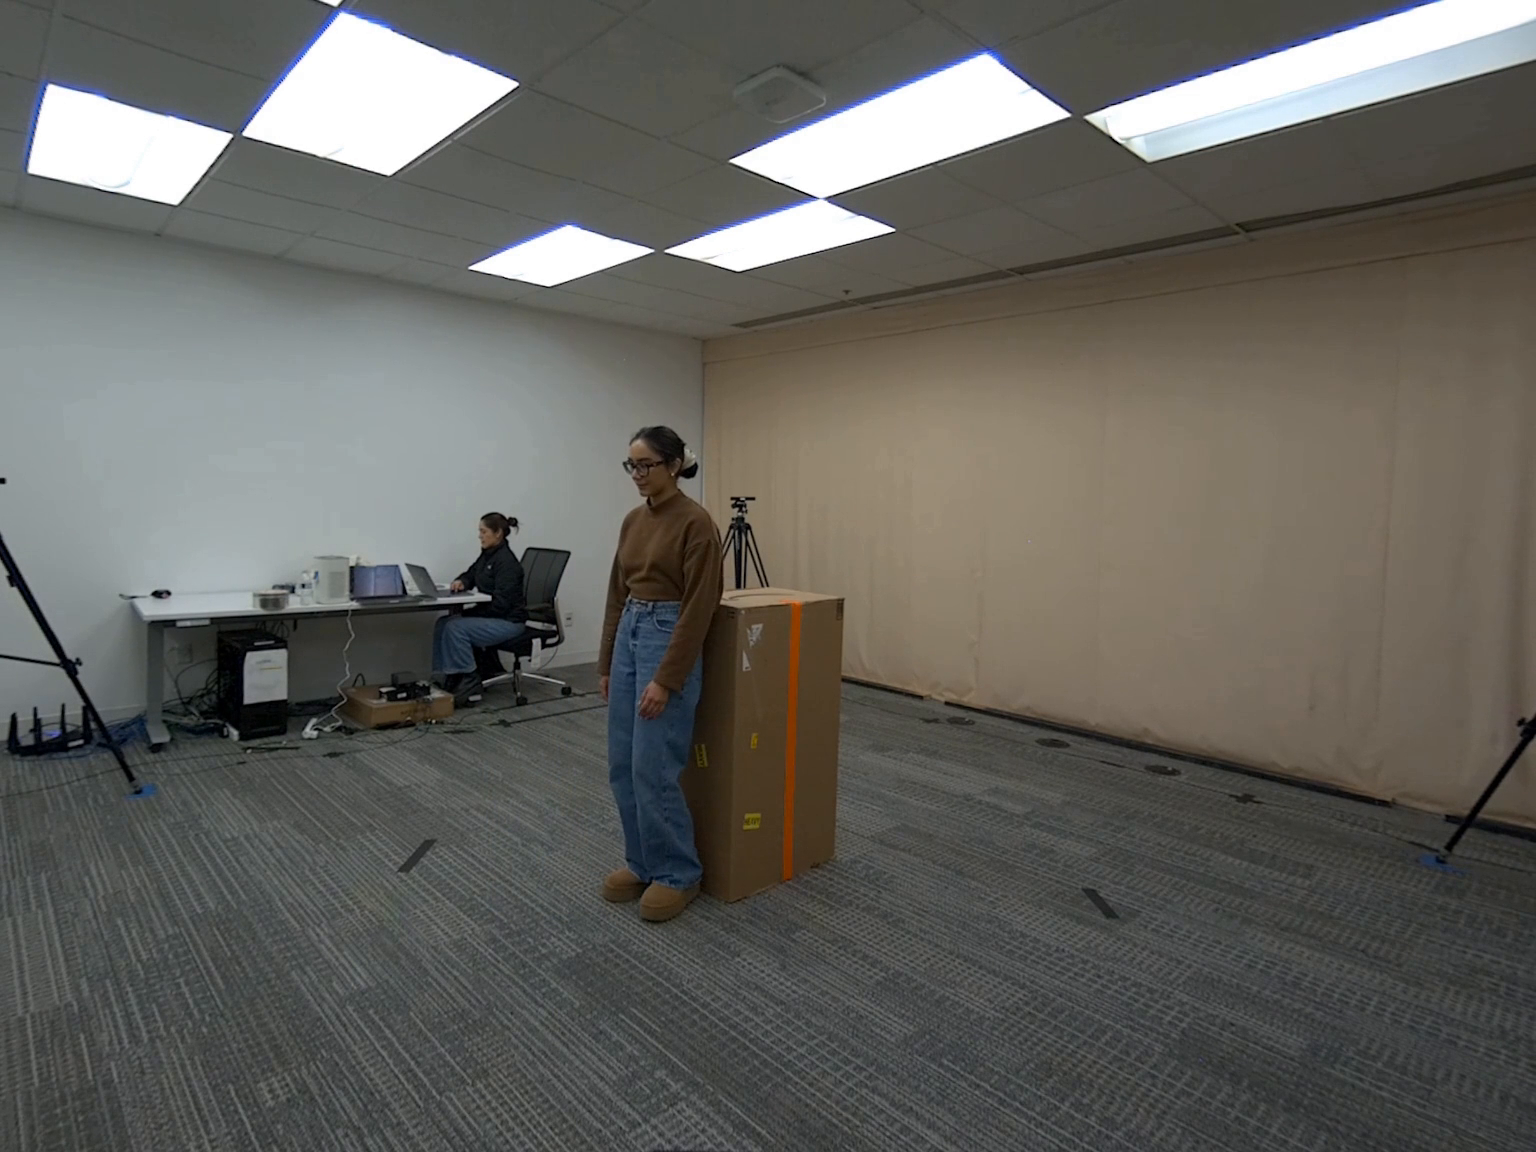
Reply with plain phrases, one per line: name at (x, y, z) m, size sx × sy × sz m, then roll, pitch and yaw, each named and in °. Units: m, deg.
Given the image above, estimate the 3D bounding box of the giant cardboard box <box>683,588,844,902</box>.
giant cardboard box at (-0.070, 0.592, 3.210) m, size 0.458 × 1.025 × 0.570 m, roll 4°, pitch 4°, yaw 43°
